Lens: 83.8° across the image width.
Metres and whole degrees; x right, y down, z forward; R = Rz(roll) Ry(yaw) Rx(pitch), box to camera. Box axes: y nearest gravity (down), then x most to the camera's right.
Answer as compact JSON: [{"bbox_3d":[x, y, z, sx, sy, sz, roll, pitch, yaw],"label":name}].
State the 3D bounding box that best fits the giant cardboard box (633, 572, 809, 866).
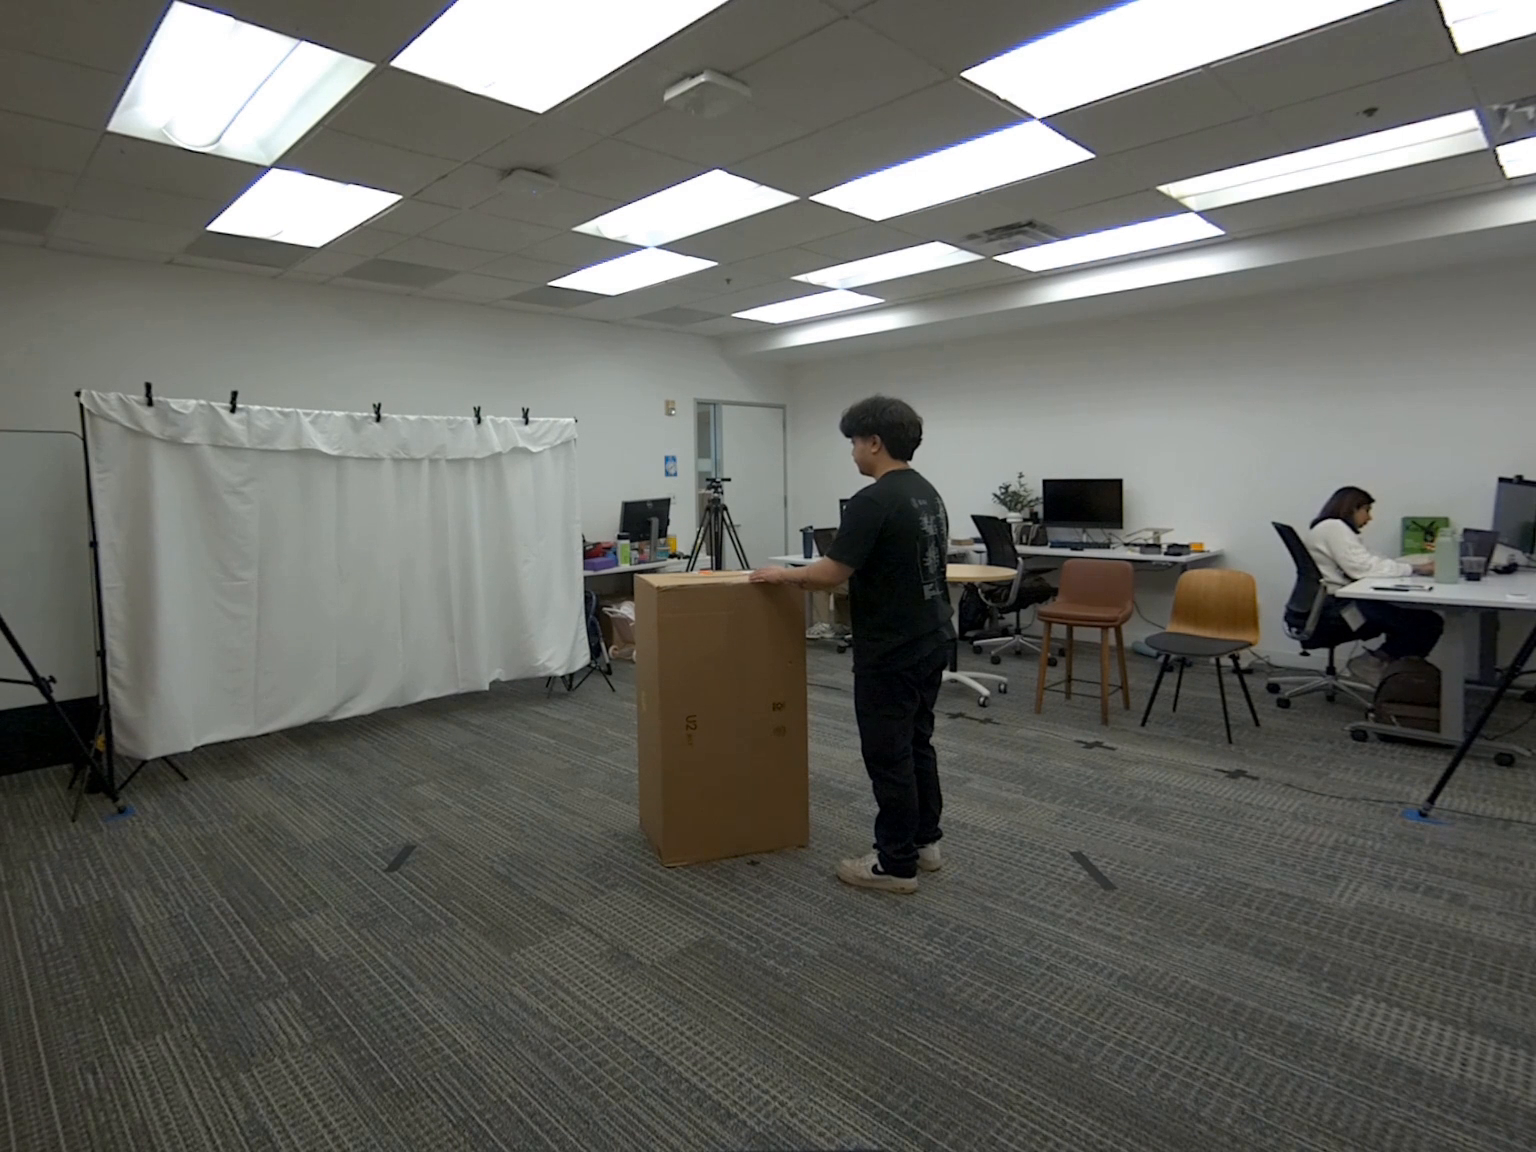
[{"bbox_3d":[-0.190,0.506,3.333,0.575,1.024,0.455,-2,4,-18],"label":"giant cardboard box"}]
